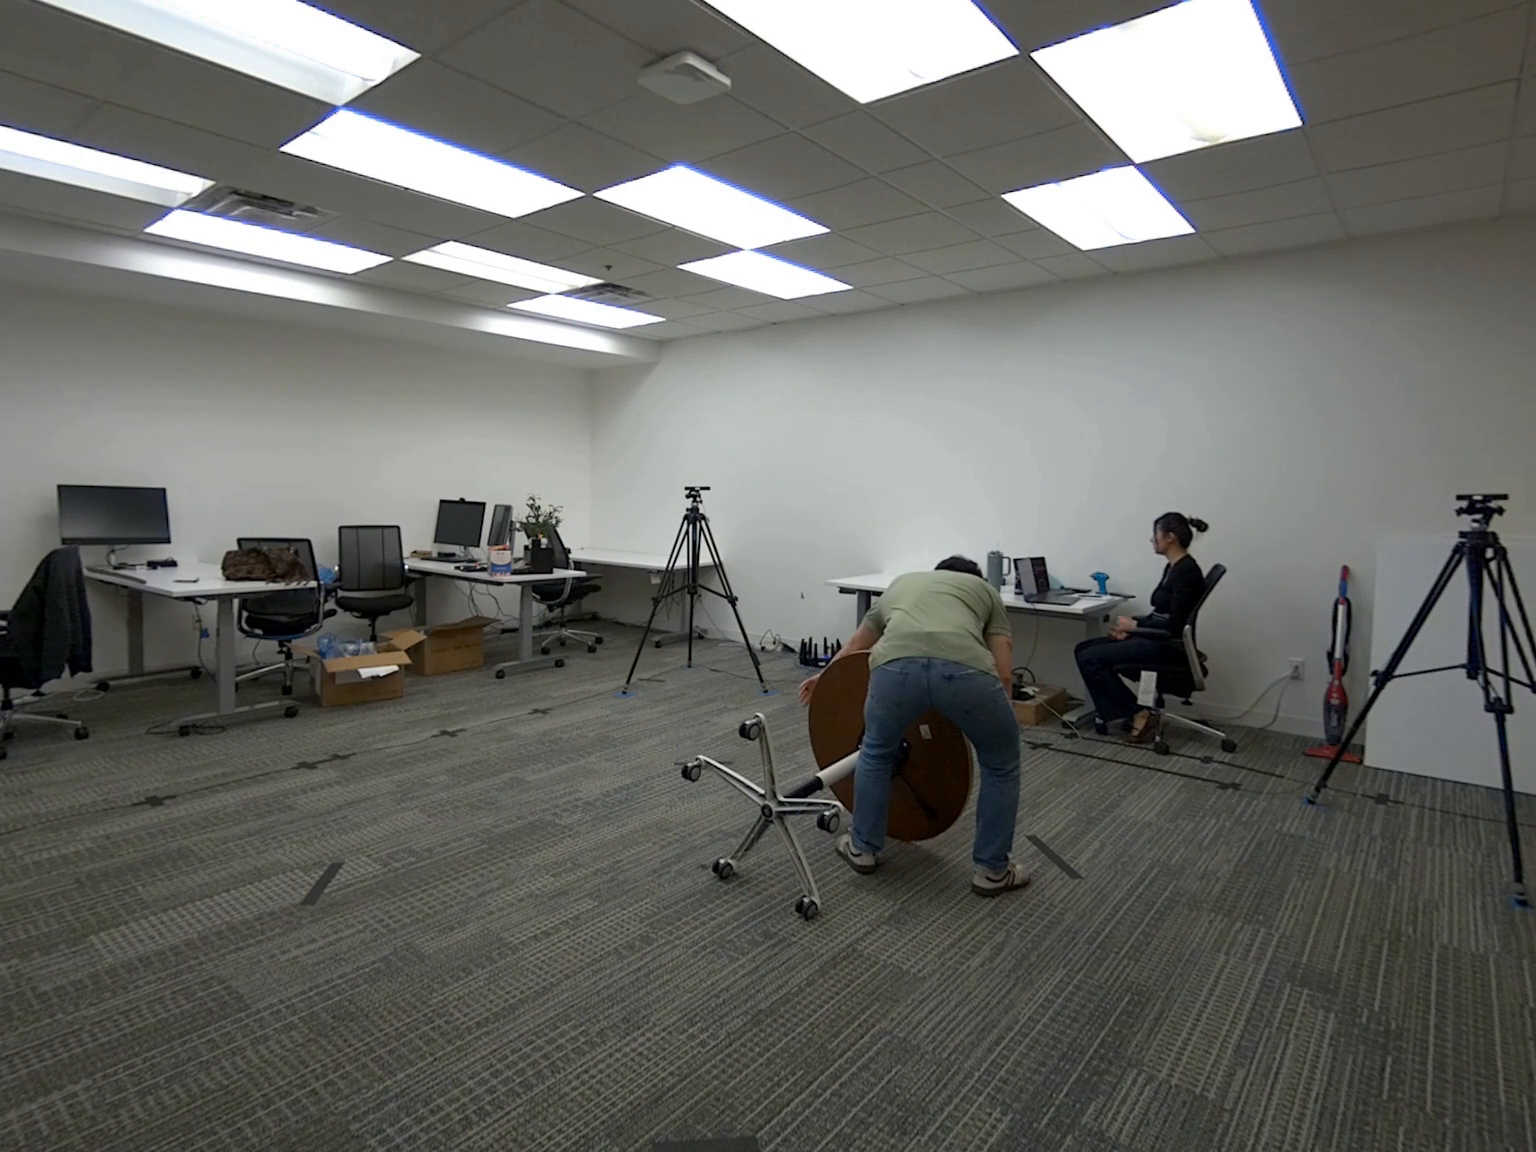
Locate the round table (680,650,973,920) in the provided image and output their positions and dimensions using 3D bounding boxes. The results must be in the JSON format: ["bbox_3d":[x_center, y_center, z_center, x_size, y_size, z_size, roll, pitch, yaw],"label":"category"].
[{"bbox_3d":[0.191,0.739,3.124,0.790,0.757,0.774,5,12,43],"label":"round table"}]
